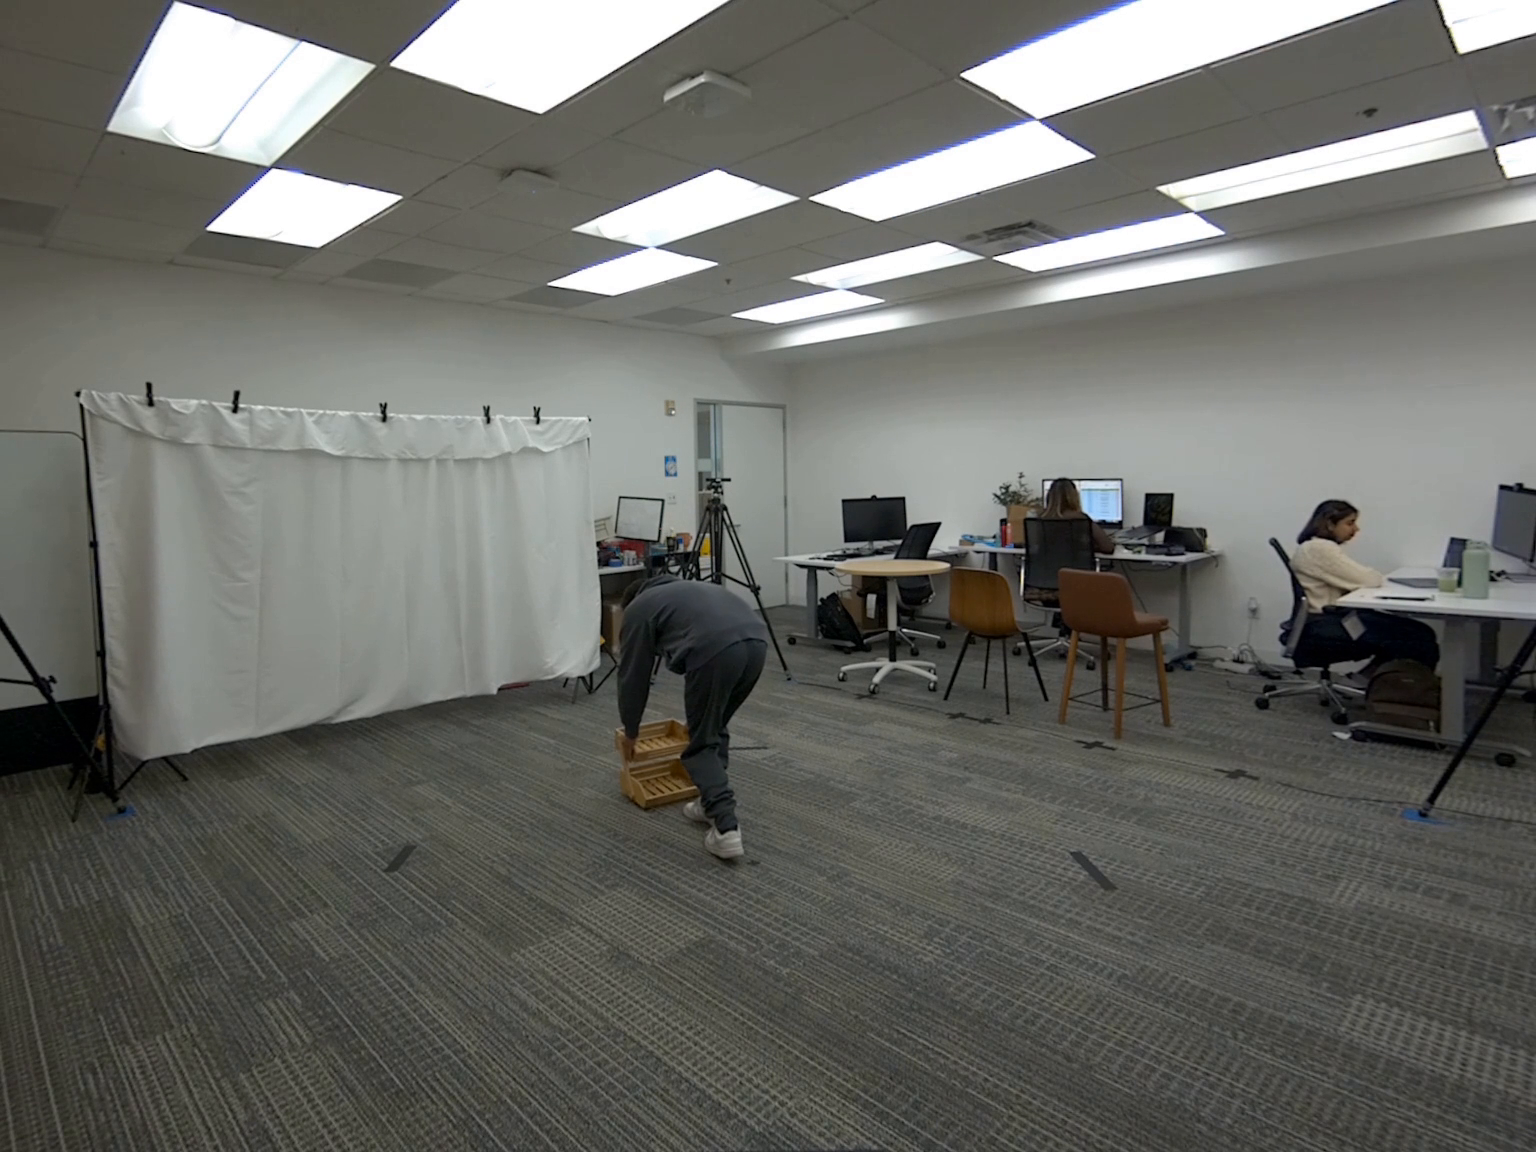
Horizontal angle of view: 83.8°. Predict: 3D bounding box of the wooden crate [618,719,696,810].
[{"bbox_3d":[-0.477,0.814,3.788,0.316,0.271,0.312,-4,10,-34],"label":"wooden crate"}]
